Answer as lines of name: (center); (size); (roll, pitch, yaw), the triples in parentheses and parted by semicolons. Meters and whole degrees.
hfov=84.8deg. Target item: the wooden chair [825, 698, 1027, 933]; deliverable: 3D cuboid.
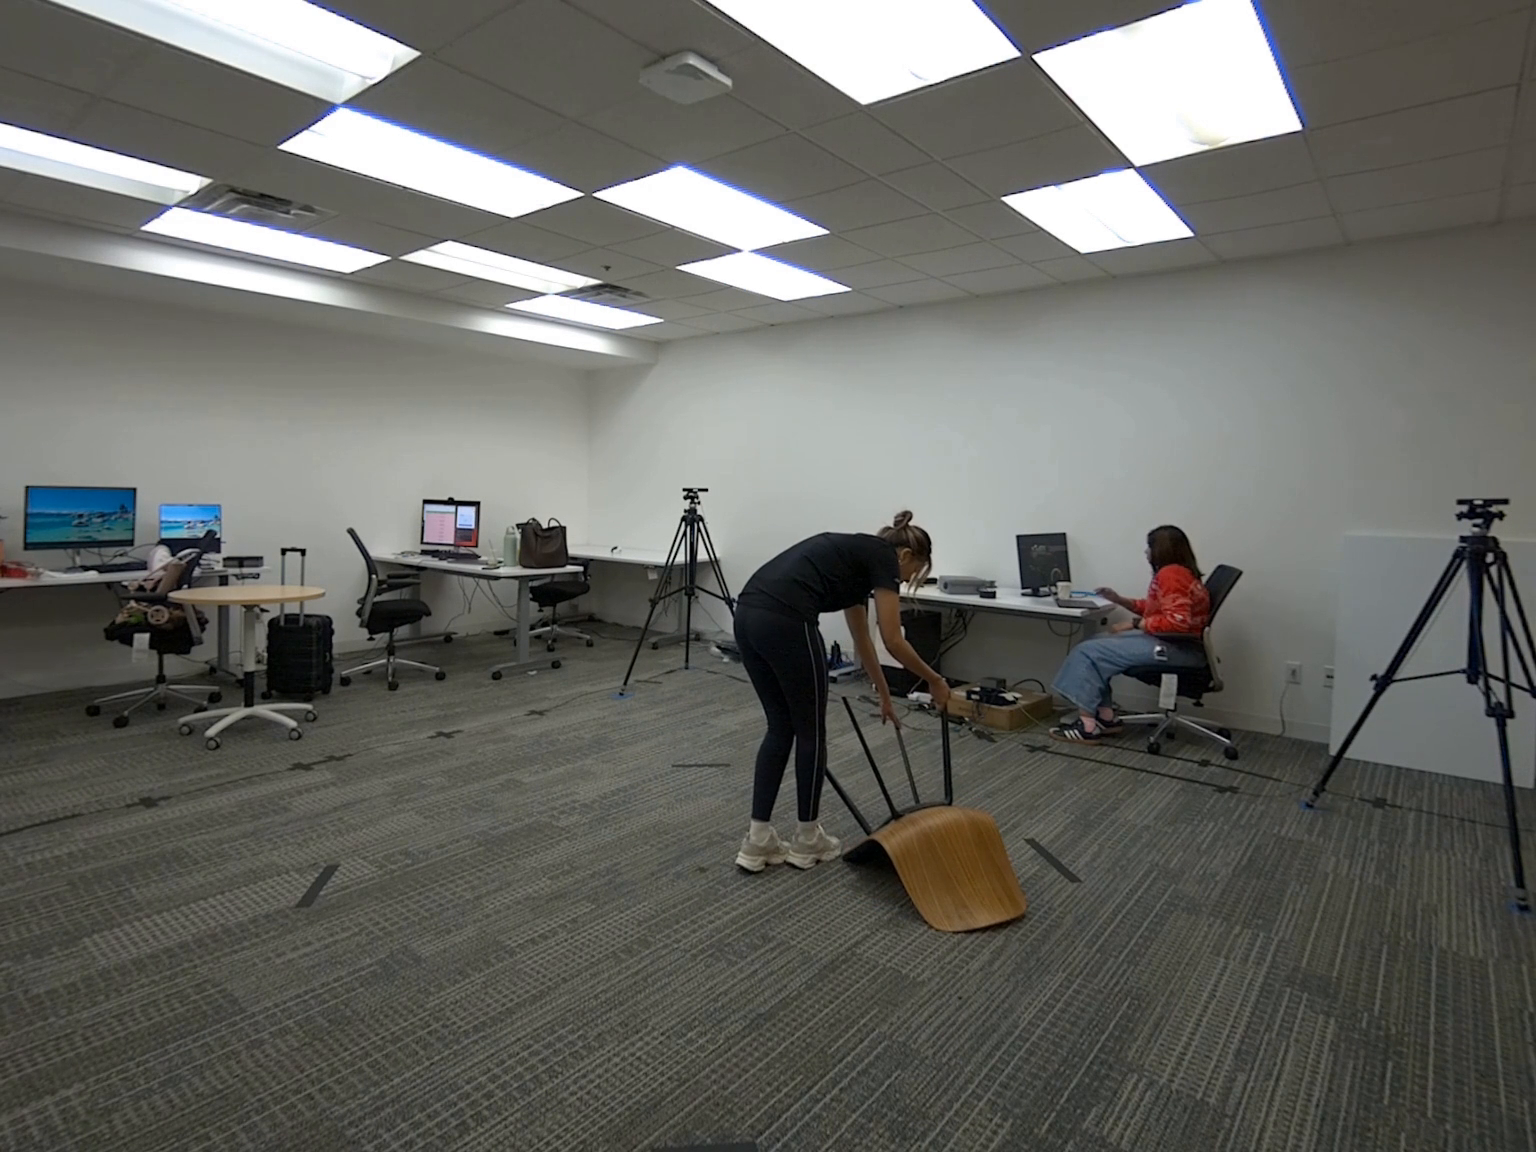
wooden chair: (0.522, 0.903, 3.156); (0.468, 0.908, 0.516); (-5, -35, -22)
